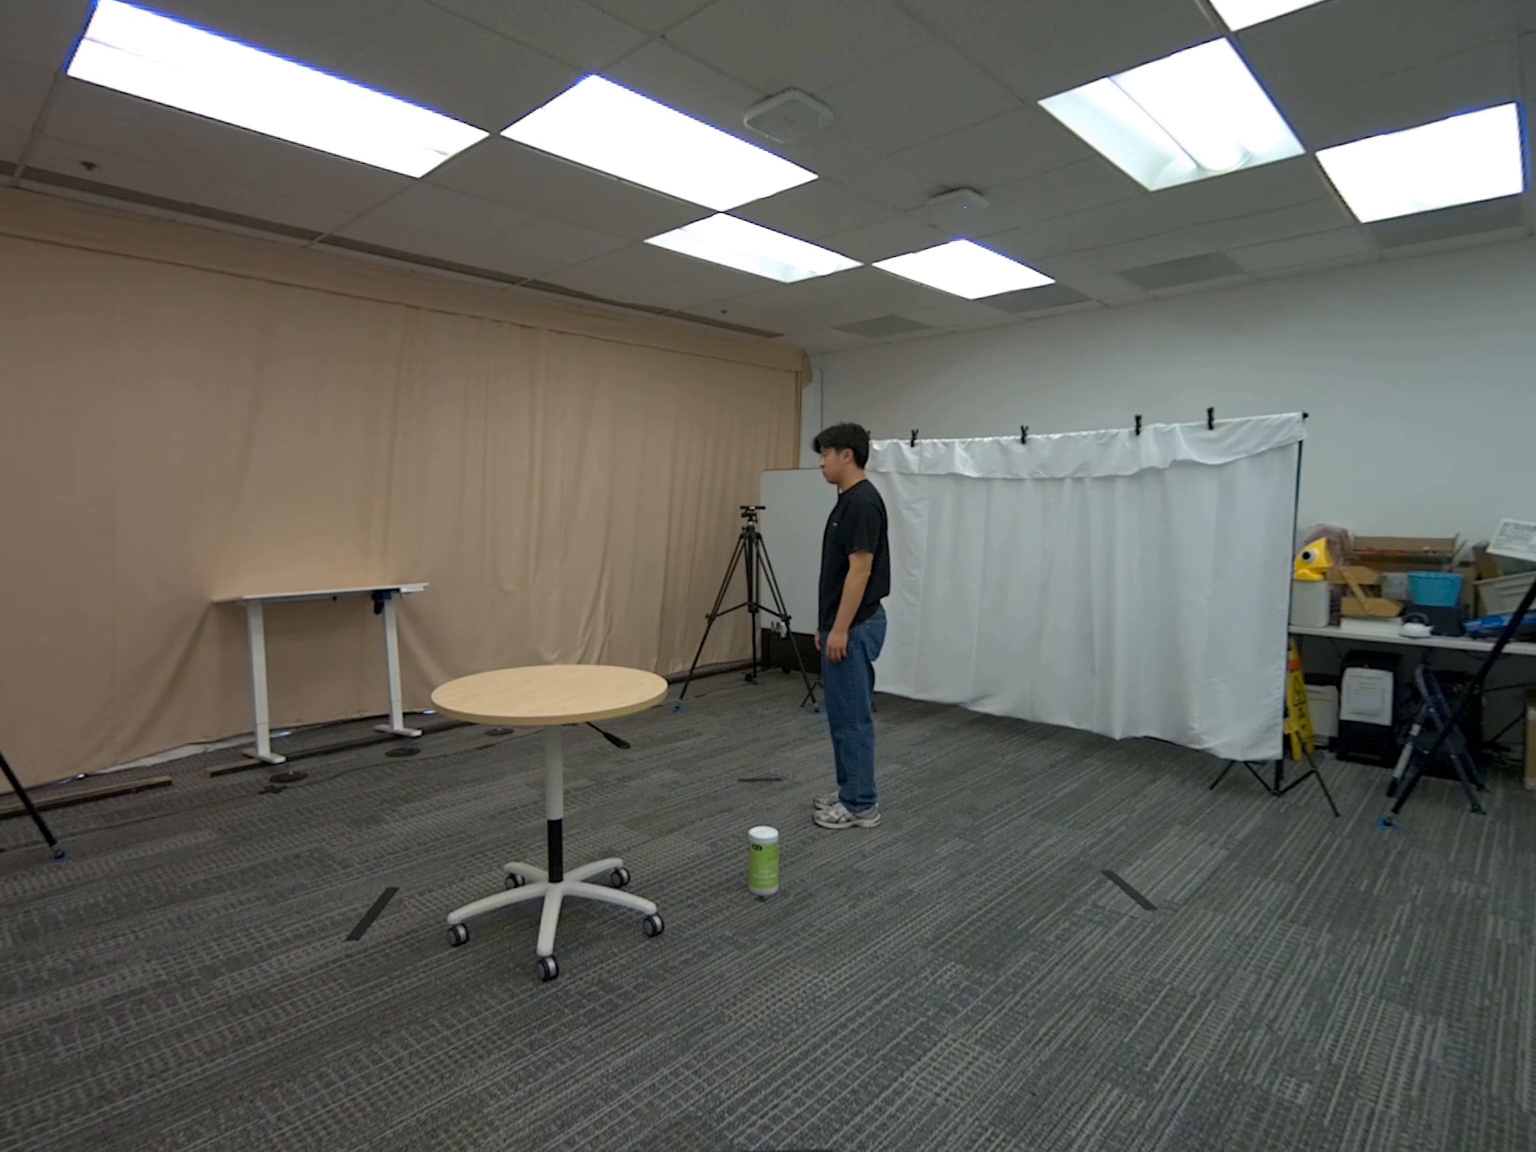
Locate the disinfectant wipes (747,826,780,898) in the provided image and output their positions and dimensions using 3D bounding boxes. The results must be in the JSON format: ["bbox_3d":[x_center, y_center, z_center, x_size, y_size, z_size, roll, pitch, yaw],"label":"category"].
[{"bbox_3d":[-0.013,1.031,3.040,0.118,0.217,0.118,1,3,-2],"label":"disinfectant wipes"}]
